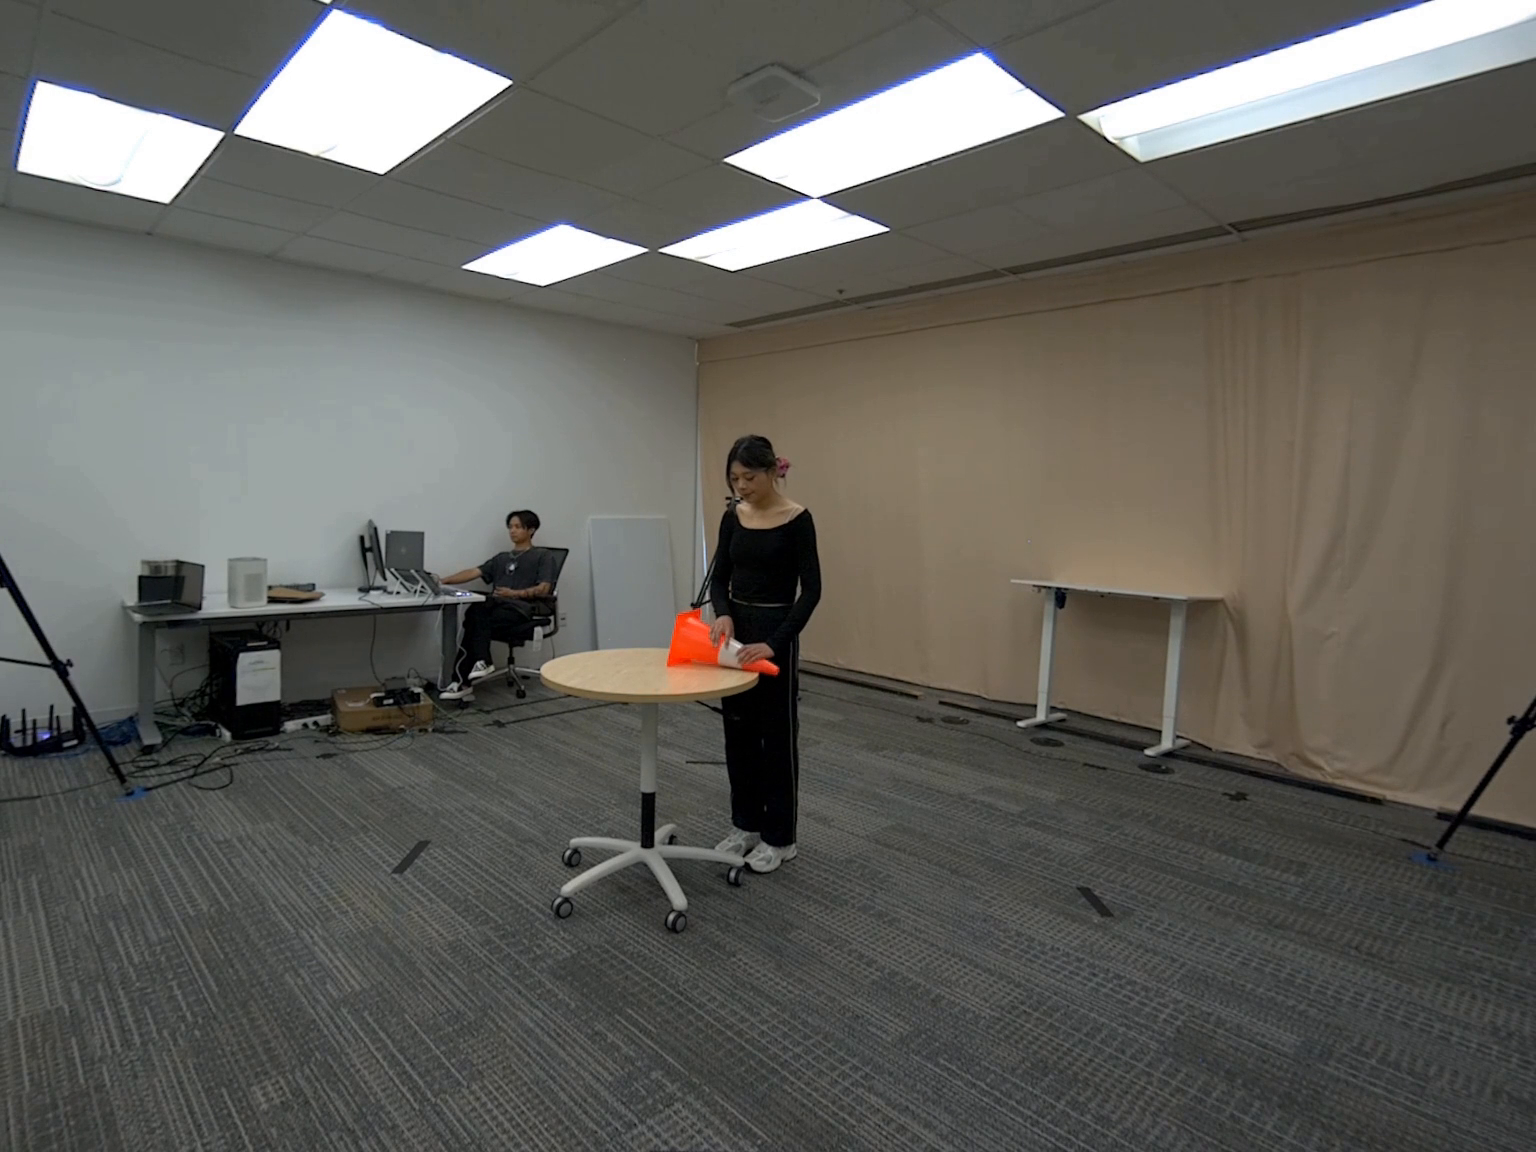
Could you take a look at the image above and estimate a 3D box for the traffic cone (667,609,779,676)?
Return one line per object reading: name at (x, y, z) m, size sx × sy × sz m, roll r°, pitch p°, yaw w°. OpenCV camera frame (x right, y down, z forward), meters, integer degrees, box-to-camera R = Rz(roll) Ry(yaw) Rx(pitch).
traffic cone at (-0.137, 0.277, 3.014) m, size 0.391 × 0.204 × 0.200 m, roll 17°, pitch 9°, yaw 22°
